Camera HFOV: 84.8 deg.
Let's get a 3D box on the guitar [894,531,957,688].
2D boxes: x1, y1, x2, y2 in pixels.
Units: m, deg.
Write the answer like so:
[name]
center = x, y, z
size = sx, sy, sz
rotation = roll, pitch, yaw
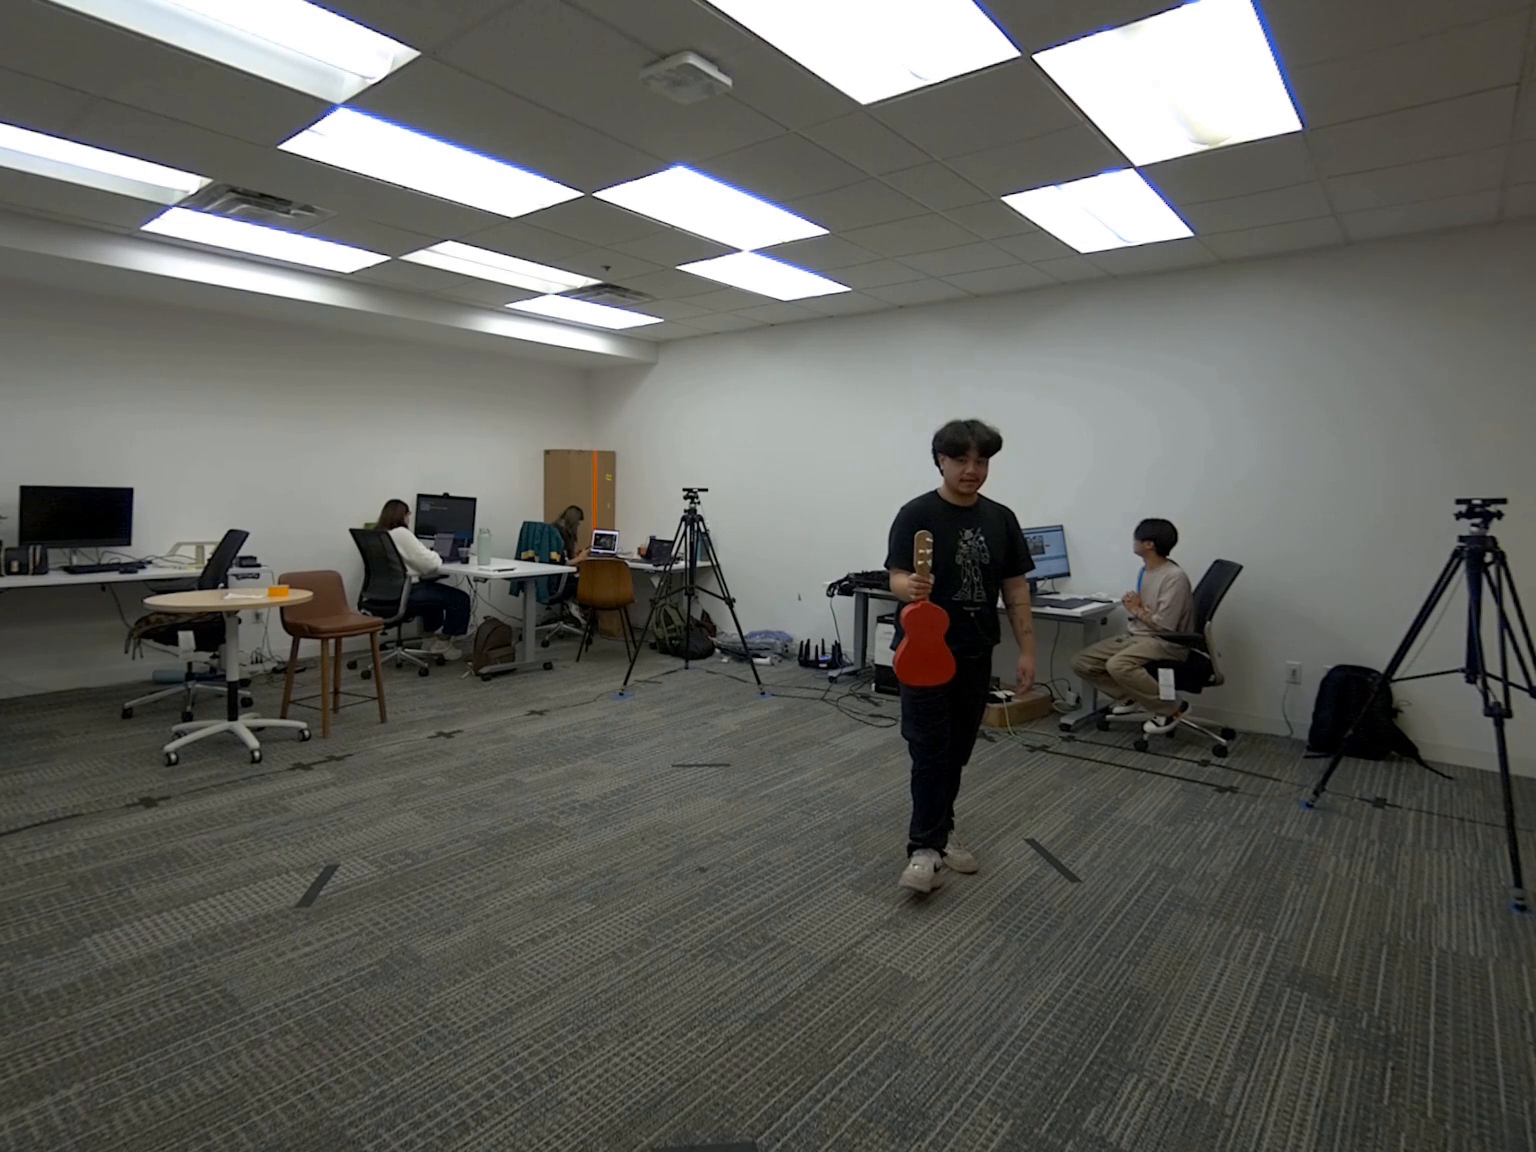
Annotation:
[guitar]
center = 0.490, 0.107, 2.773
size = 0.193, 0.494, 0.071
rotation = -6, 7, 3
